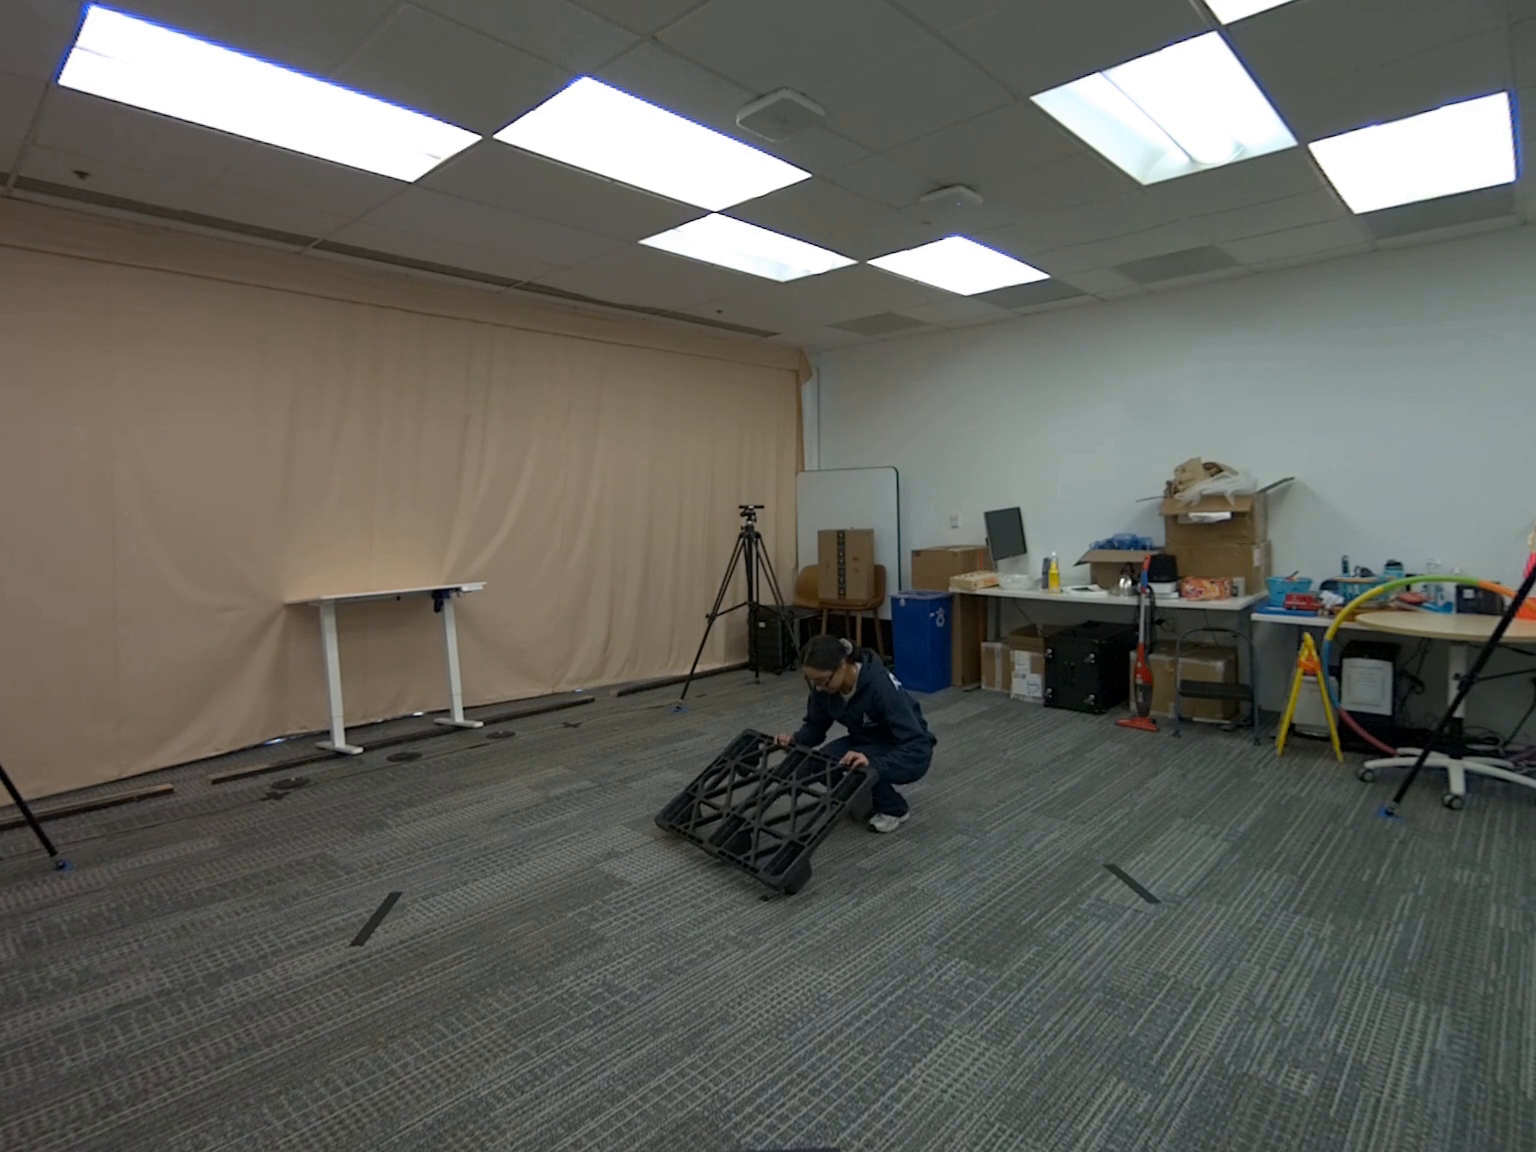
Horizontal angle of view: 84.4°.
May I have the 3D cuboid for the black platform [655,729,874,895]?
[{"bbox_3d":[-0.003,0.934,3.382,0.598,0.140,0.831,-41,26,-29],"label":"black platform"}]
